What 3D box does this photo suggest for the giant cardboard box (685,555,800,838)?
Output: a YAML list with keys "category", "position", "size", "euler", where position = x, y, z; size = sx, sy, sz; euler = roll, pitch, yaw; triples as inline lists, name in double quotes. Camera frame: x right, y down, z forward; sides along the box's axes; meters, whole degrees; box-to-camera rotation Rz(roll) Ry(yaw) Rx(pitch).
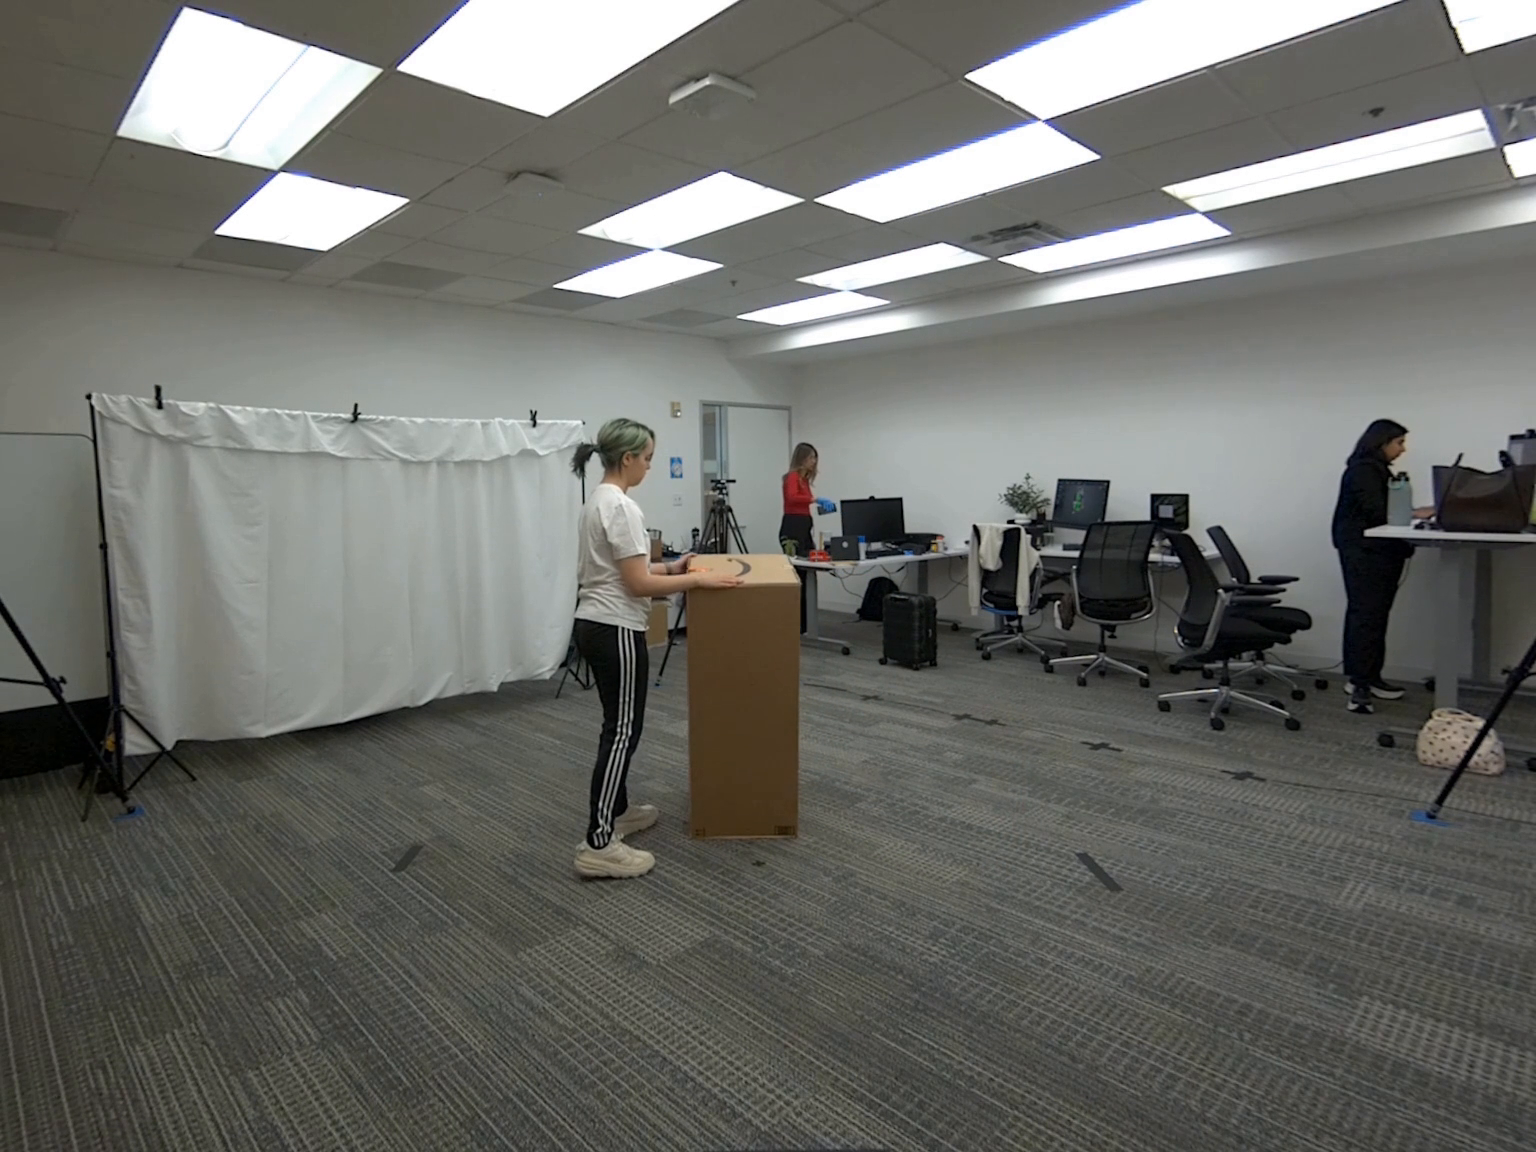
- category: "giant cardboard box"
  position: [-0.108, 0.472, 3.525]
  size: [0.426, 1.016, 0.583]
  euler: [0, 10, -2]
